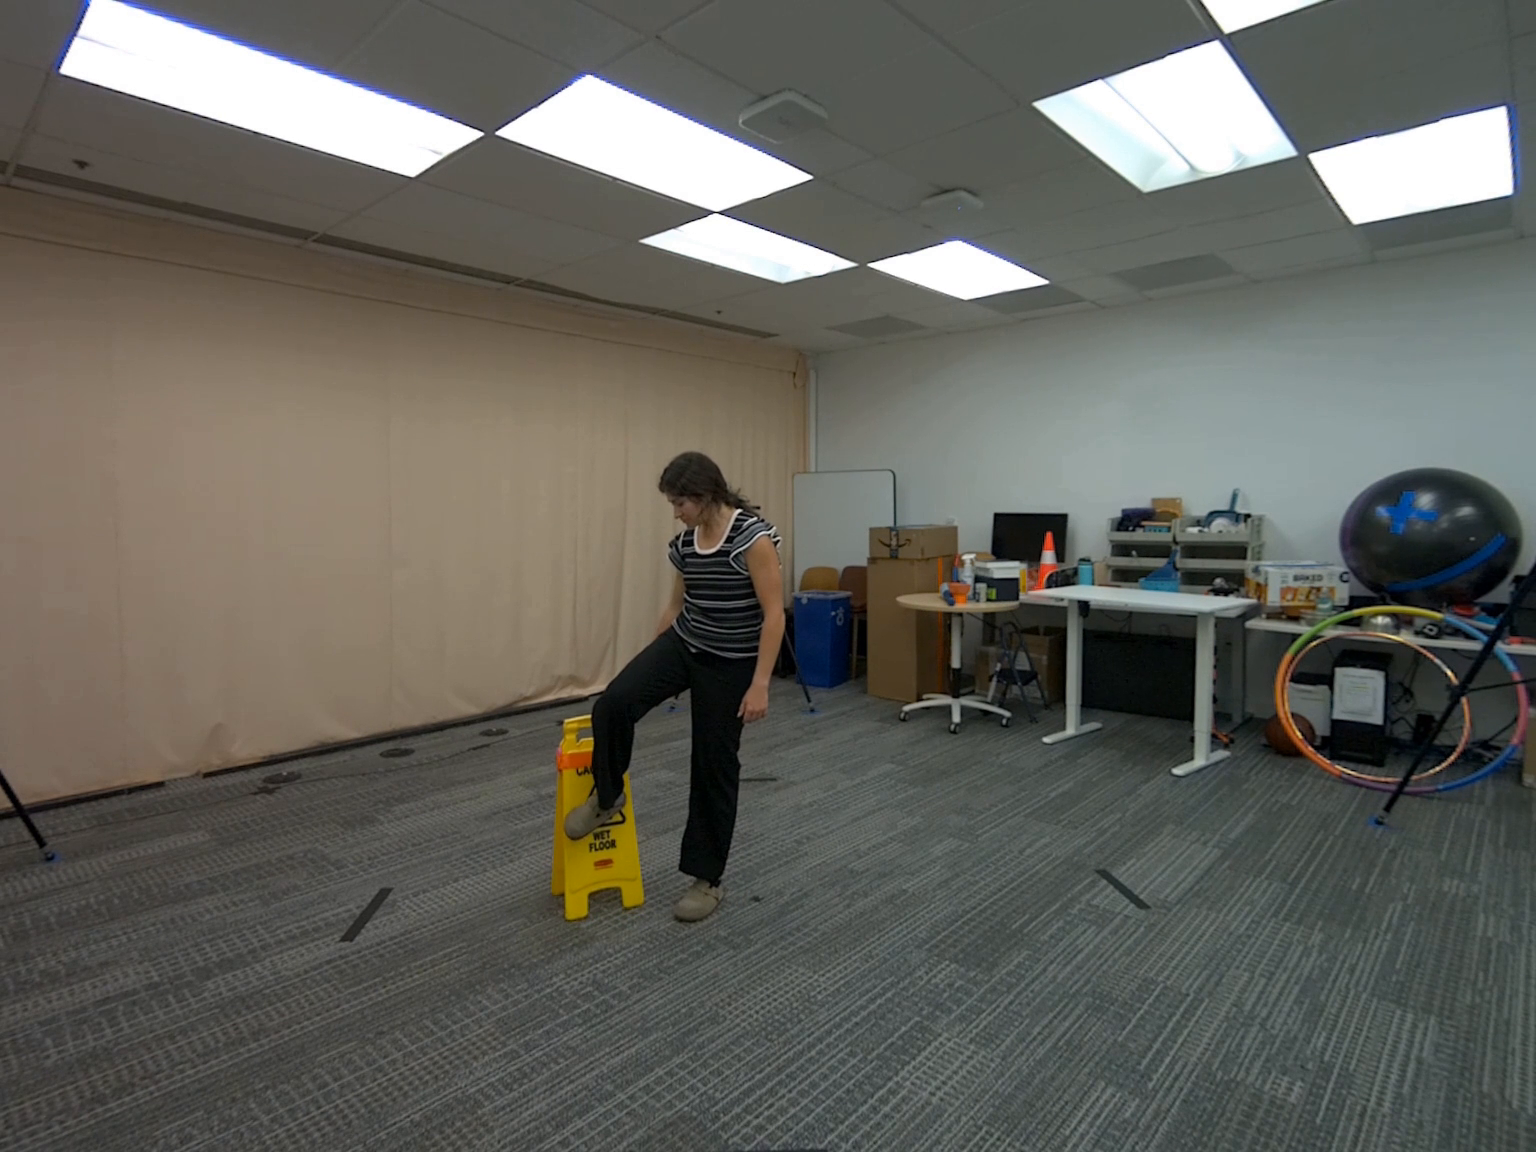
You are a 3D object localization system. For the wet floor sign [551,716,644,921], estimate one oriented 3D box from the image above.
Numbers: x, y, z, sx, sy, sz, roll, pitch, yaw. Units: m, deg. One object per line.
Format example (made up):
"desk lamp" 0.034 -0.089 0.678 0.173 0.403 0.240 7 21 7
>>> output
"wet floor sign" -0.611 0.820 2.972 0.277 0.646 0.296 -3 1 -20
